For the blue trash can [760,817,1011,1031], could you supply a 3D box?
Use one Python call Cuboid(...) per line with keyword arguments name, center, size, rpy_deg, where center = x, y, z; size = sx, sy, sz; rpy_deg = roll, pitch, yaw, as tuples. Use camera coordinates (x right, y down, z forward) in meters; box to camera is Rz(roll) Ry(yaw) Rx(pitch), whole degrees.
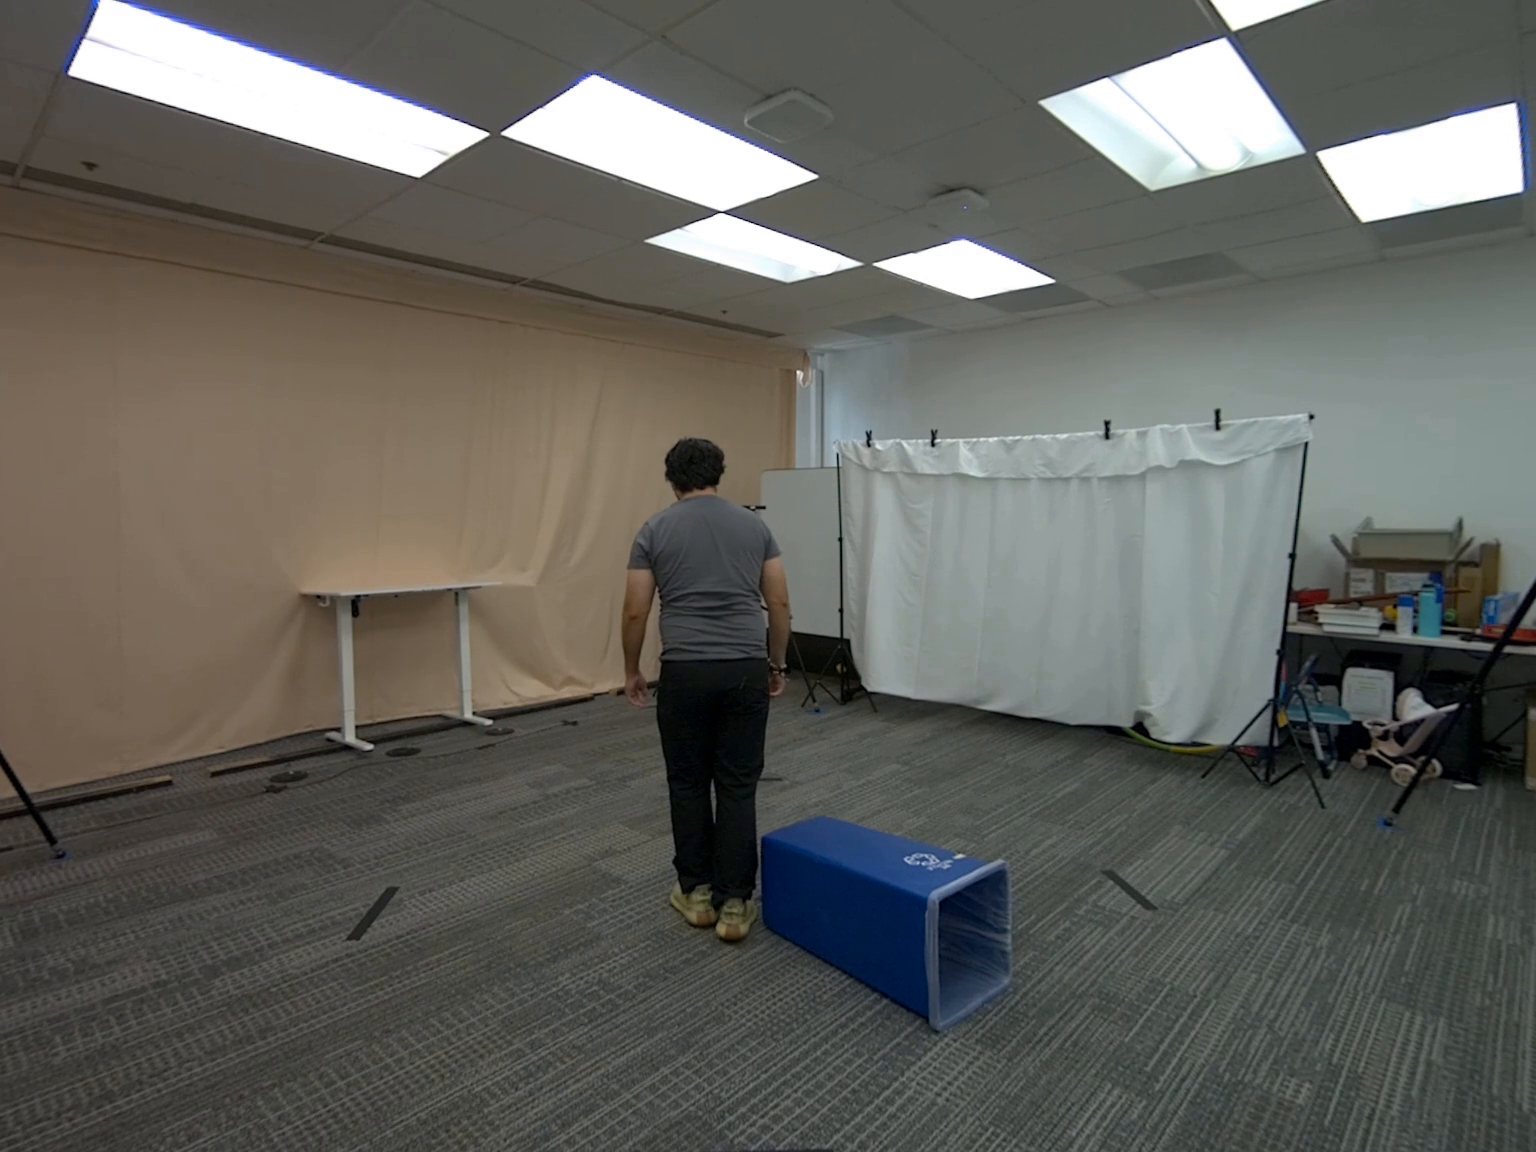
Cuboid(name="blue trash can", center=(0.334, 0.997, 2.588), size=(0.366, 0.373, 0.737), rpy_deg=(-4, 4, -42))
